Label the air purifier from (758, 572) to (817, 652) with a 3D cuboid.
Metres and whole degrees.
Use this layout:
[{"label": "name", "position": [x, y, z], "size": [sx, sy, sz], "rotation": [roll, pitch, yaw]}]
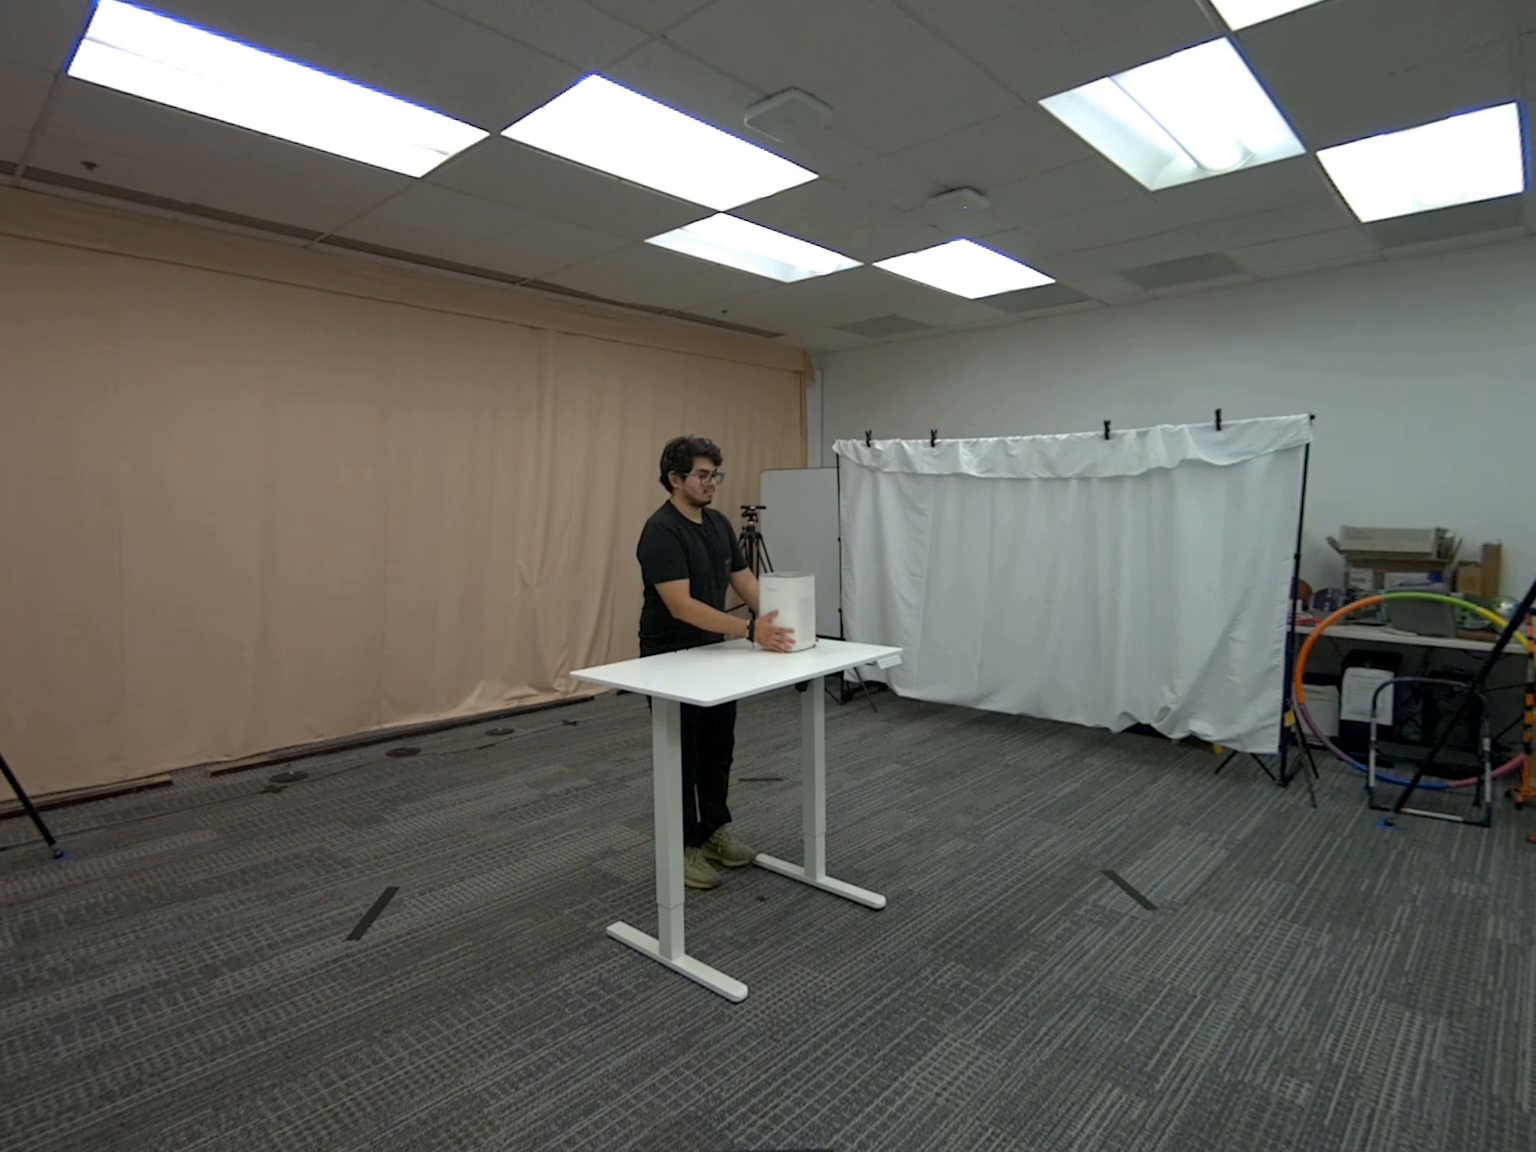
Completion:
[{"label": "air purifier", "position": [0.071, 0.123, 2.972], "size": [0.176, 0.265, 0.166], "rotation": [2, 4, 38]}]
